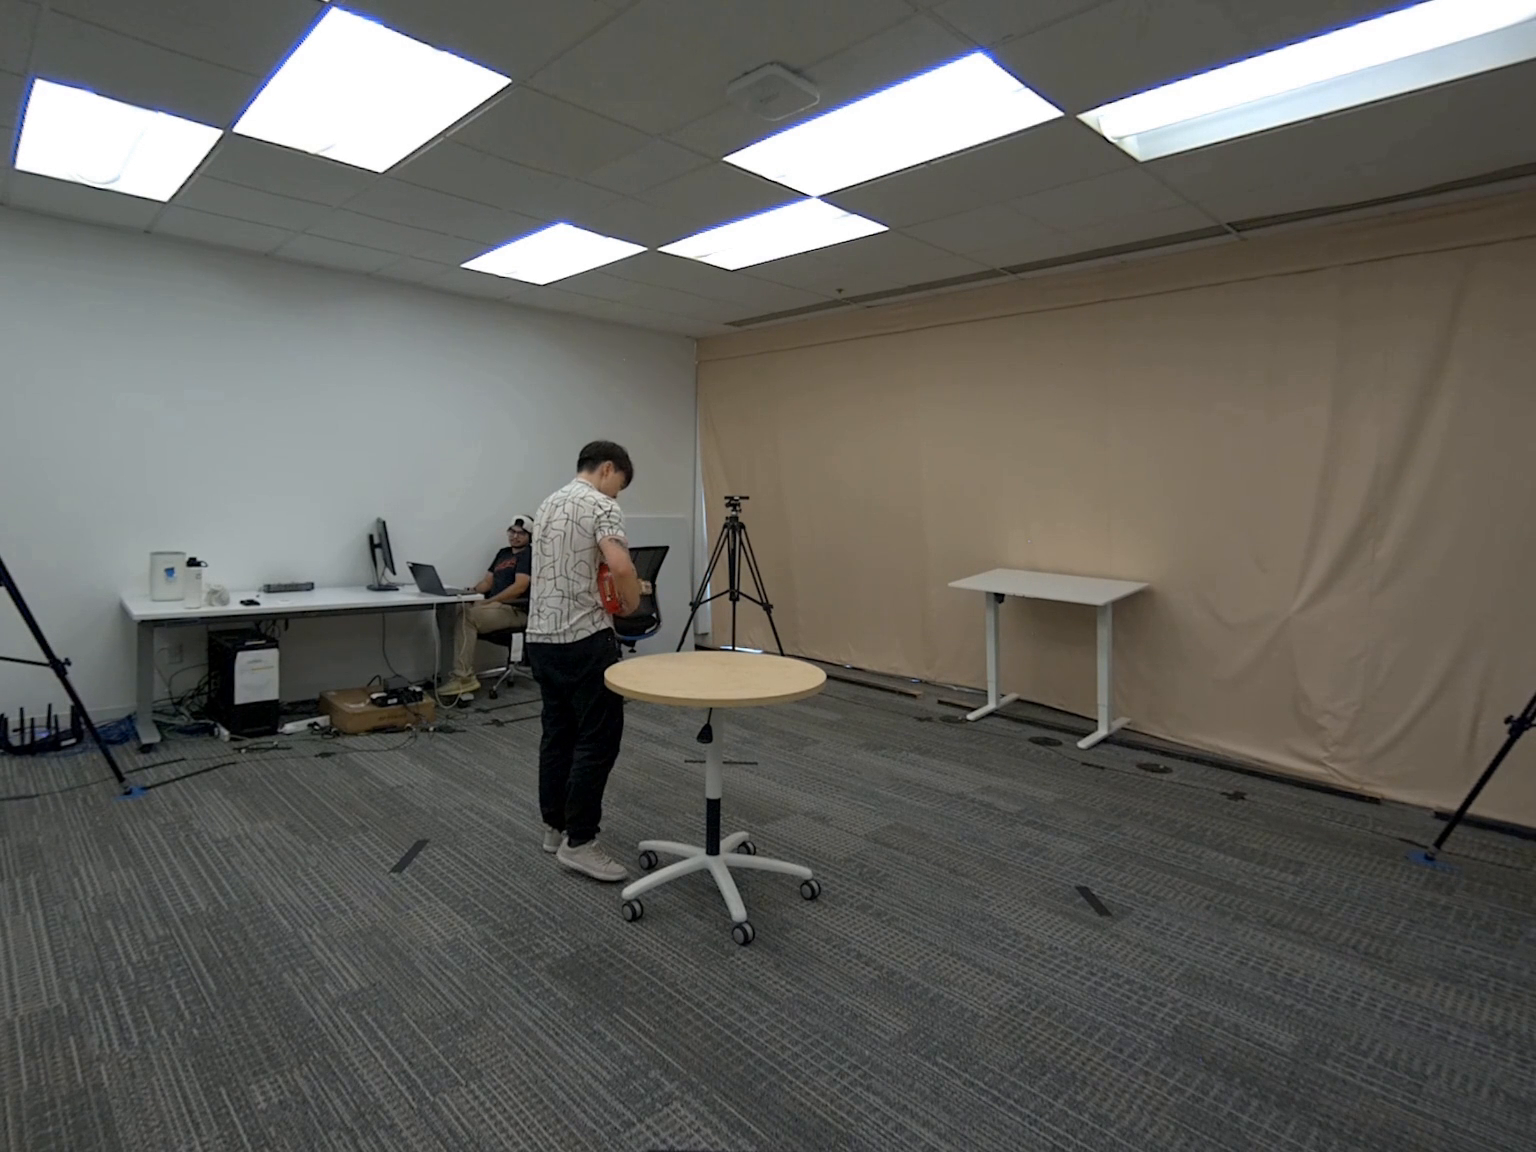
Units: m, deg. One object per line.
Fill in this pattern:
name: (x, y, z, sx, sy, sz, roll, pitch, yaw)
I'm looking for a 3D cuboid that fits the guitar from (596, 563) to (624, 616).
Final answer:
guitar: (-0.573, 0.072, 3.437, 0.071, 0.195, 0.489, -13, -12, 7)
